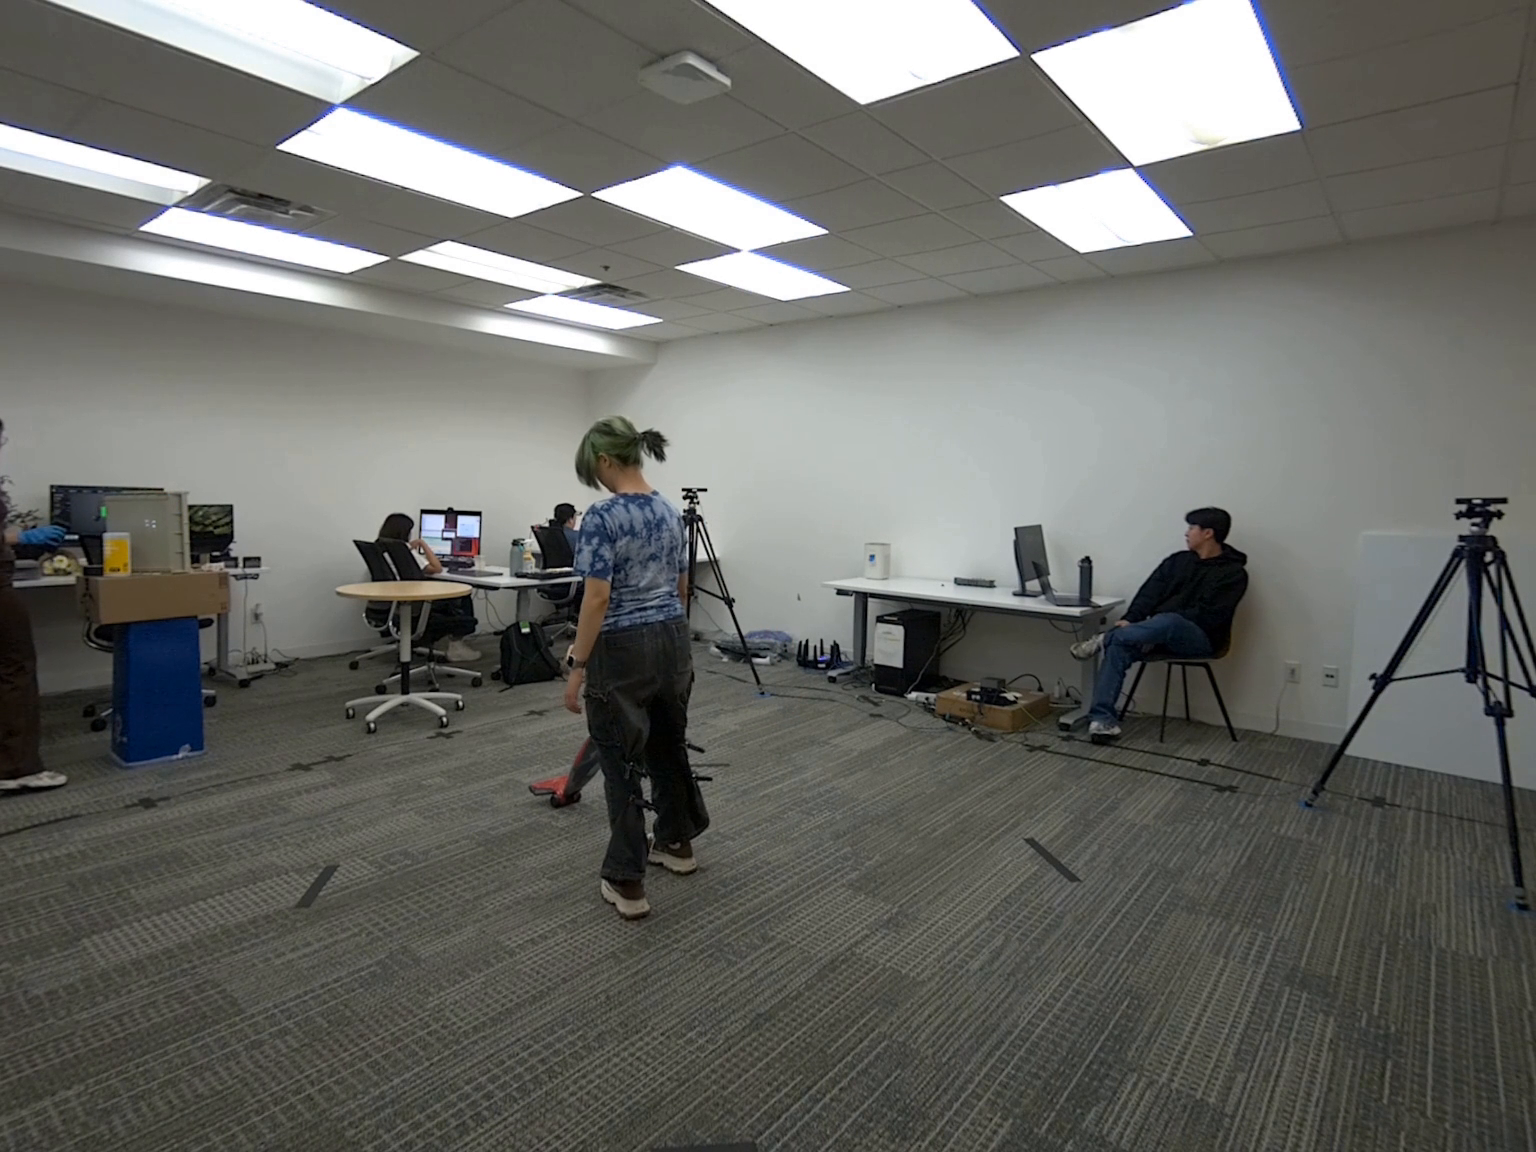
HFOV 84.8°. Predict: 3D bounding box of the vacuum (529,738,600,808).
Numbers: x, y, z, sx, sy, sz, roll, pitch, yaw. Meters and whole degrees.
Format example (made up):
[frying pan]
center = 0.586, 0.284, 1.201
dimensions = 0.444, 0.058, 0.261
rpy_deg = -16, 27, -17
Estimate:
[vacuum]
center = -0.660, 0.621, 3.497
dimensions = 0.245, 0.148, 1.046
rpy_deg = -6, -37, -49
